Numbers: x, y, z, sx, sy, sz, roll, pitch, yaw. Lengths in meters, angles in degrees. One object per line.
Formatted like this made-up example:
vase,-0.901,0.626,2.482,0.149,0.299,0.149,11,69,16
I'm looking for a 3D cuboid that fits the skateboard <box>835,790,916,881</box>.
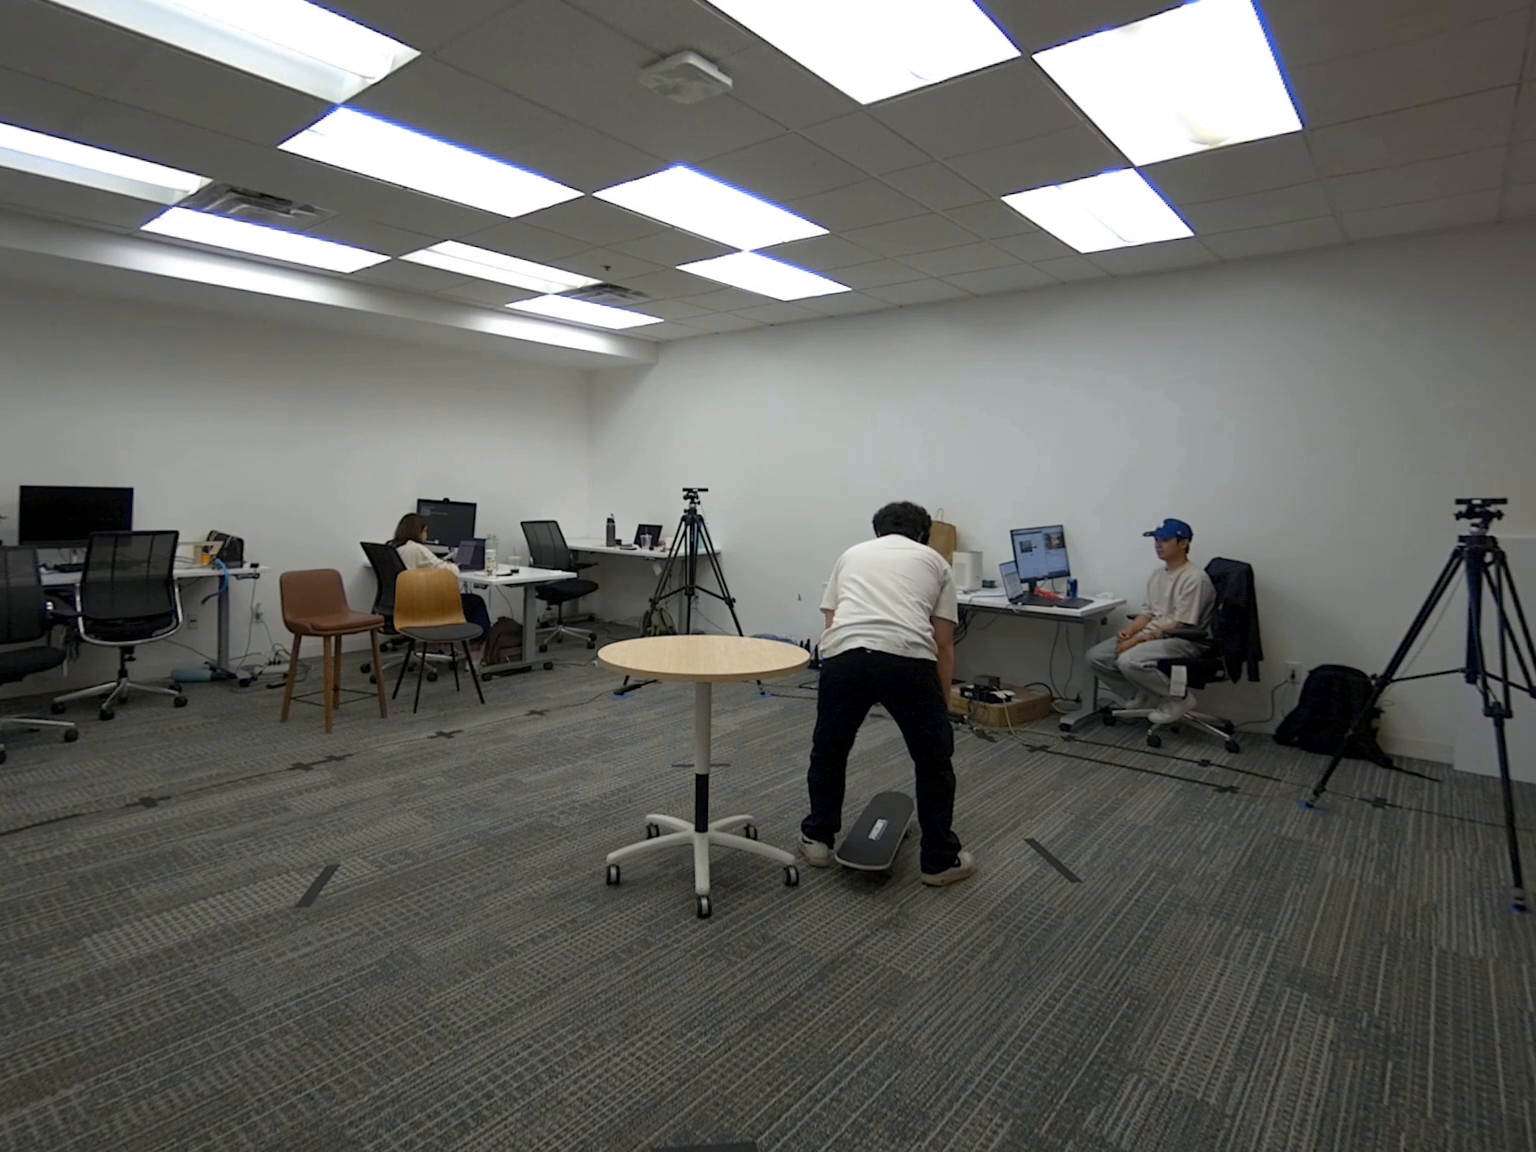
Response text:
skateboard,0.421,1.010,3.297,0.197,0.110,0.772,3,6,18
